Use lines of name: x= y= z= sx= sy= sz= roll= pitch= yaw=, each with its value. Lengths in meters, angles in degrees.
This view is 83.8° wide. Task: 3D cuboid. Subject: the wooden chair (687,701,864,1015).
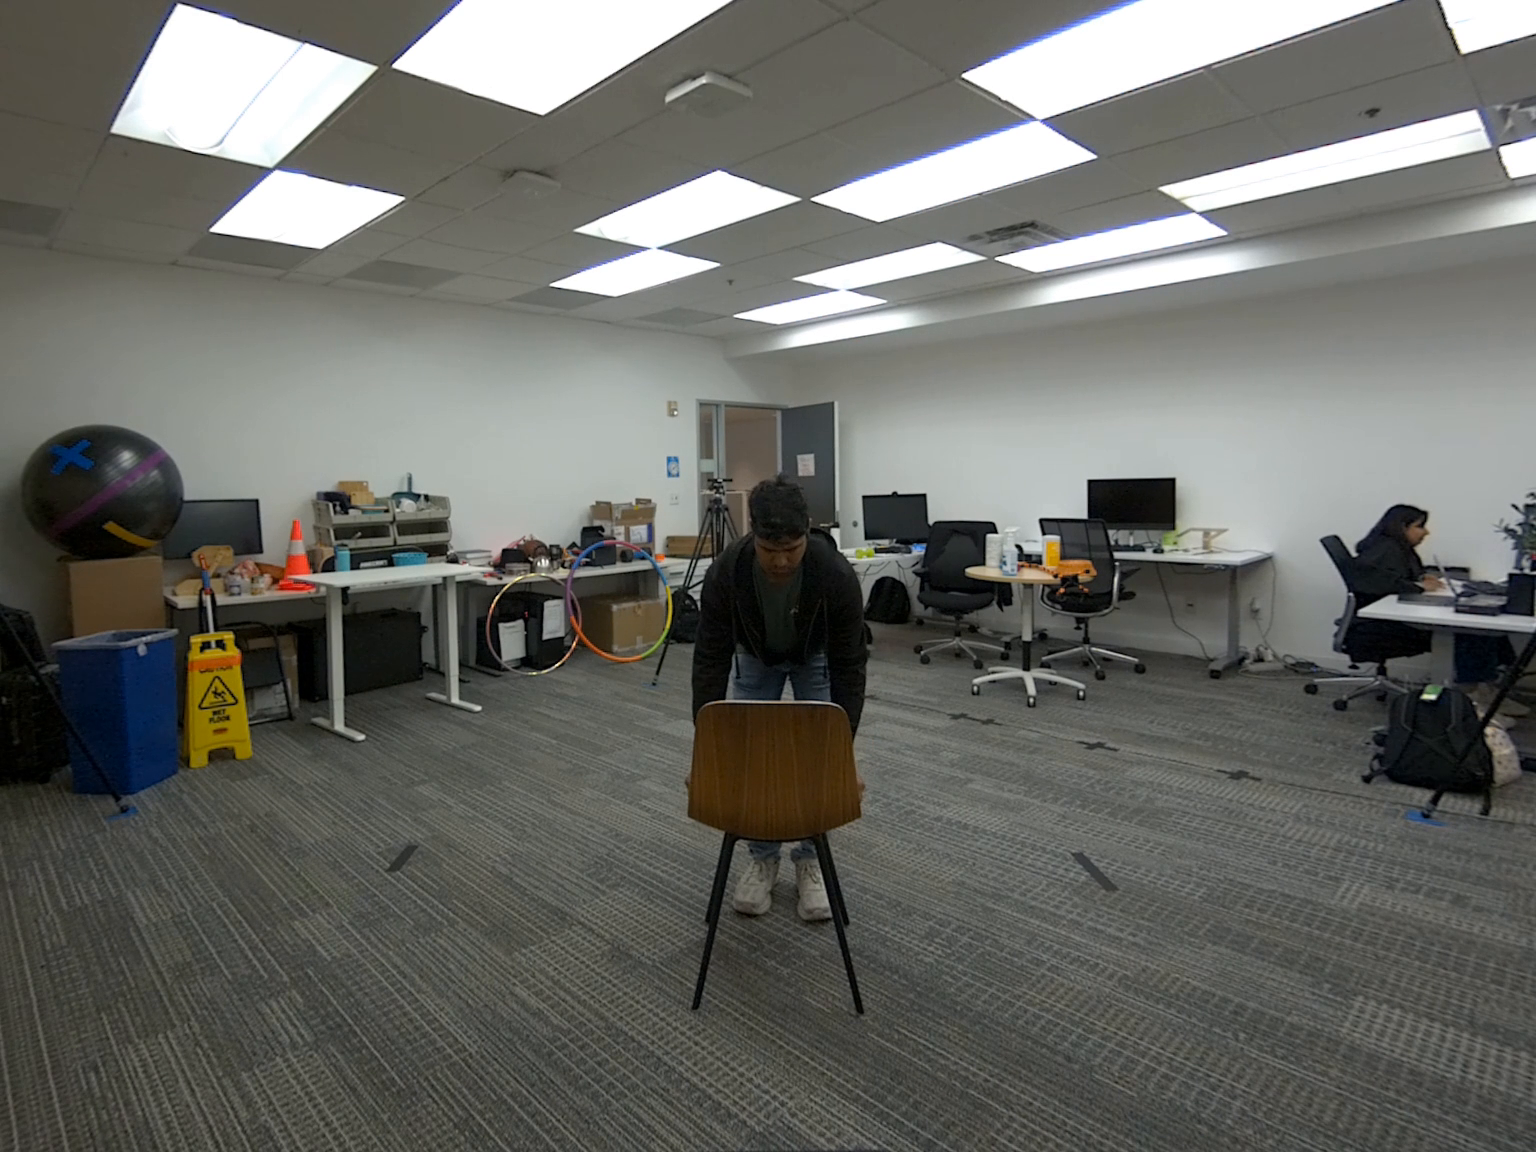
wooden chair: x=0.016 y=0.688 z=2.439 sx=0.480 sy=0.869 sz=0.526 roll=-2 pitch=10 yaw=2
